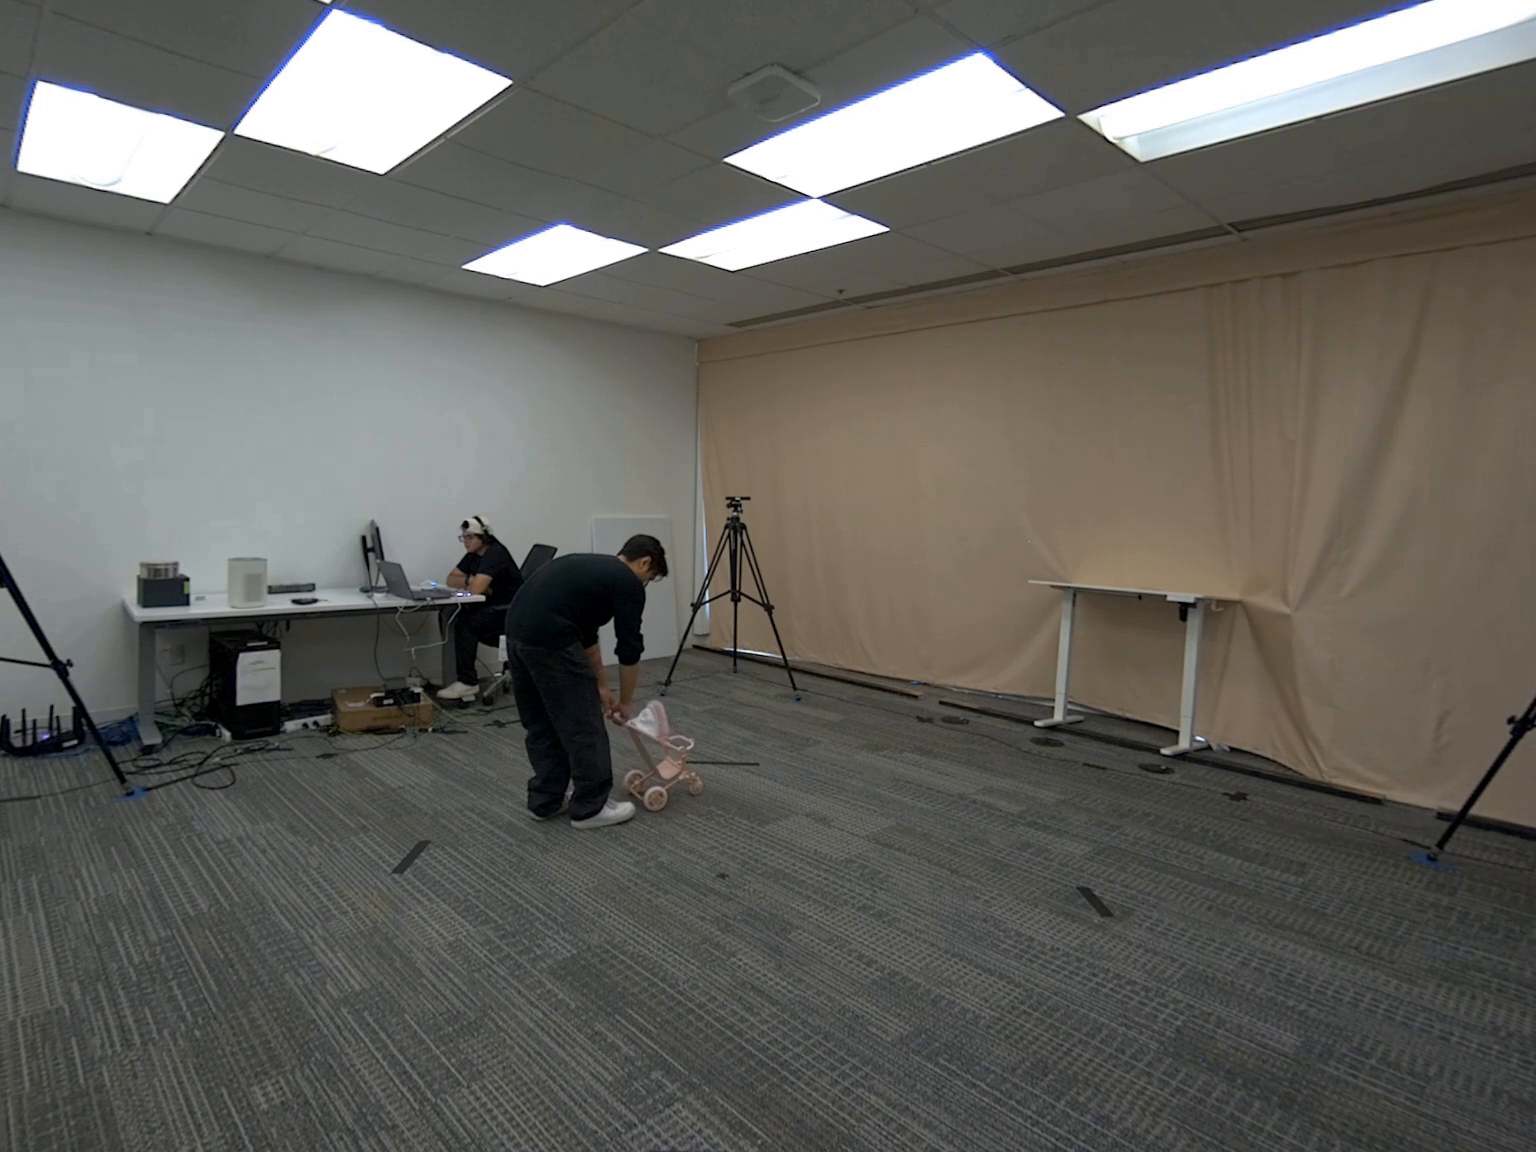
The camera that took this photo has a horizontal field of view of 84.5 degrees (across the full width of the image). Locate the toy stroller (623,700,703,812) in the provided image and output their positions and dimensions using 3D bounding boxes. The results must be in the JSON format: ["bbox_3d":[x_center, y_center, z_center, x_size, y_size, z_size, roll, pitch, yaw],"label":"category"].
[{"bbox_3d":[-0.514,0.806,3.865,0.337,0.530,0.287,-18,11,-22],"label":"toy stroller"}]
